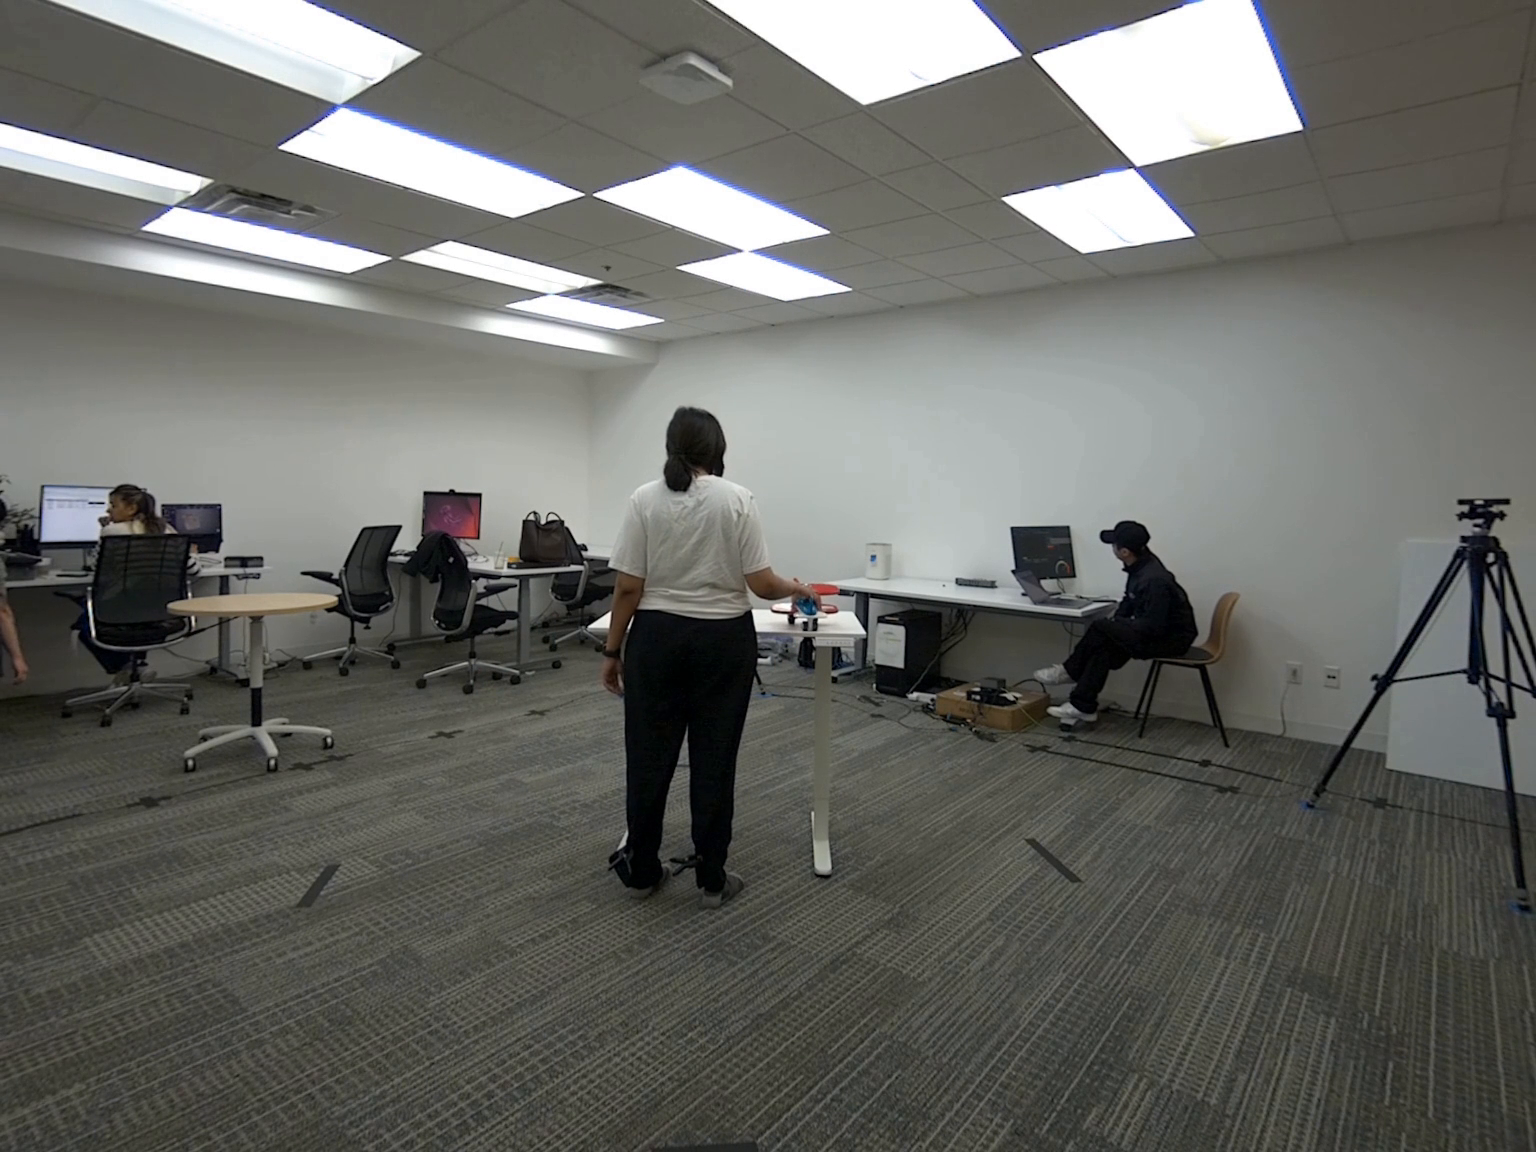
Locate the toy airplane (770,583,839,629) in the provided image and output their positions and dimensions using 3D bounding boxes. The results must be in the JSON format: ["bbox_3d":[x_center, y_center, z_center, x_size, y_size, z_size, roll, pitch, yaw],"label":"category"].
[{"bbox_3d":[0.158,0.110,3.165,0.244,0.156,0.267,0,3,-32],"label":"toy airplane"}]
